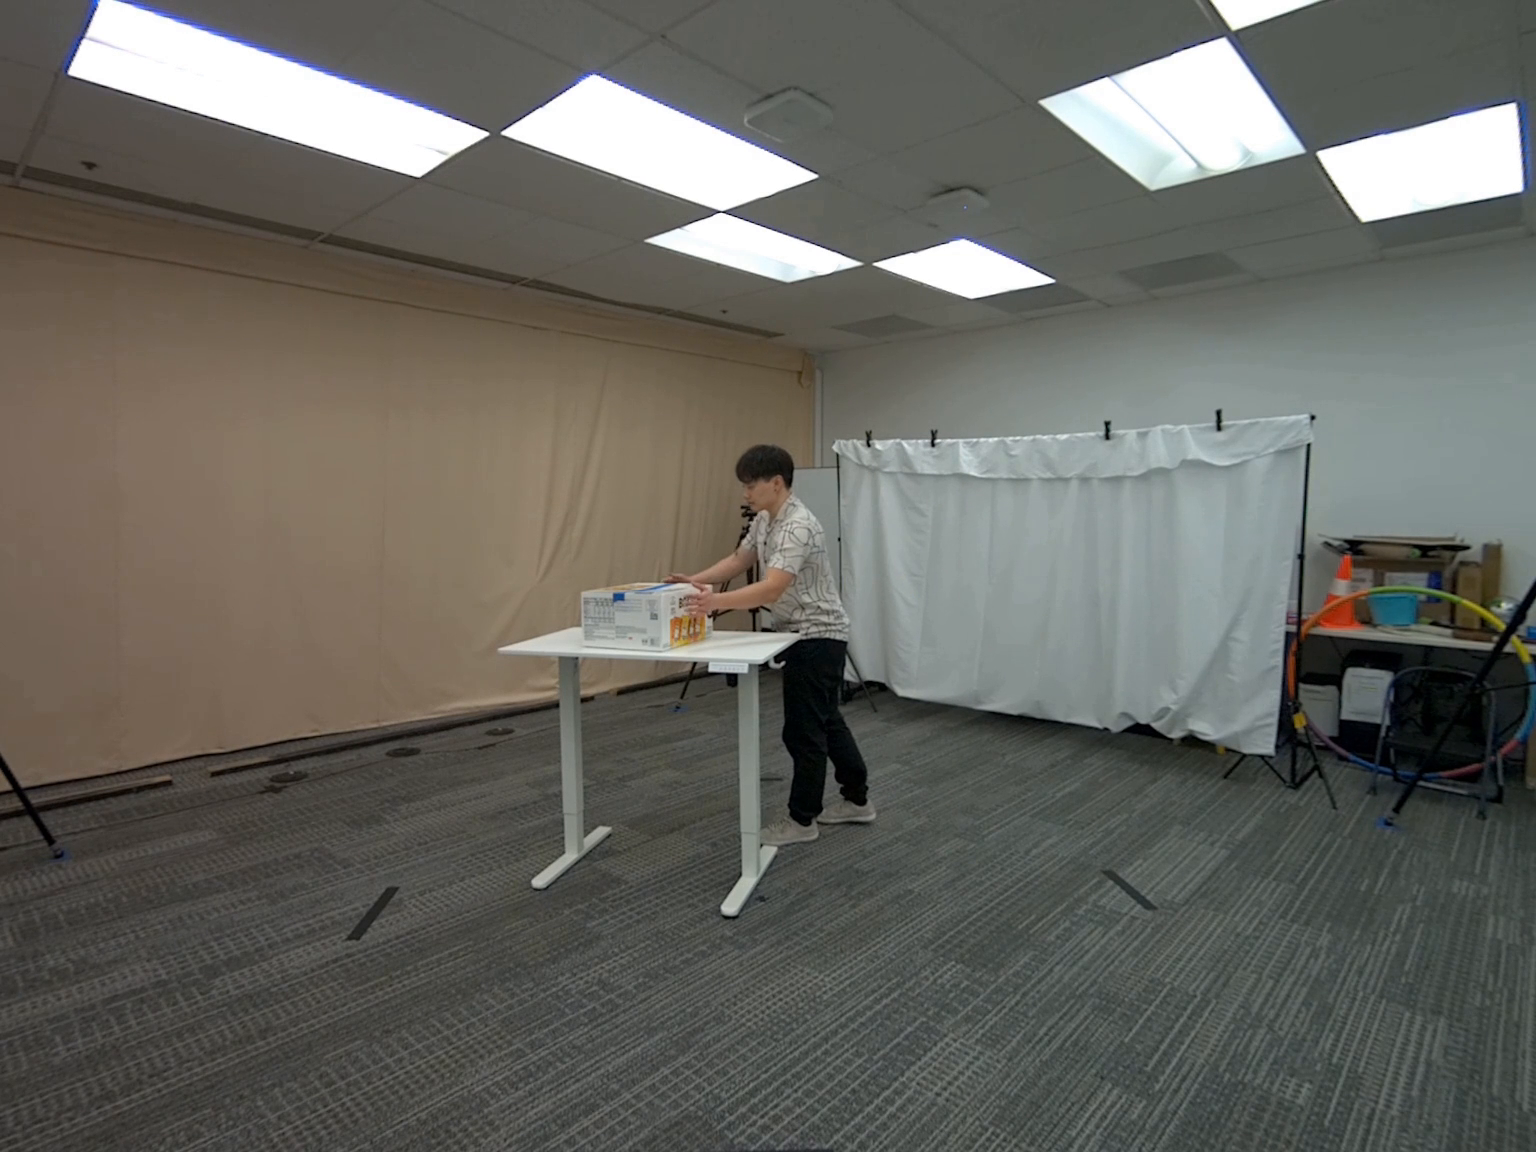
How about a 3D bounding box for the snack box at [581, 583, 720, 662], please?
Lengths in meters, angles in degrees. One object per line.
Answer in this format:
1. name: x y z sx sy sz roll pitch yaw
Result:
1. snack box: -0.446 0.148 3.178 0.349 0.205 0.396 0 4 24
